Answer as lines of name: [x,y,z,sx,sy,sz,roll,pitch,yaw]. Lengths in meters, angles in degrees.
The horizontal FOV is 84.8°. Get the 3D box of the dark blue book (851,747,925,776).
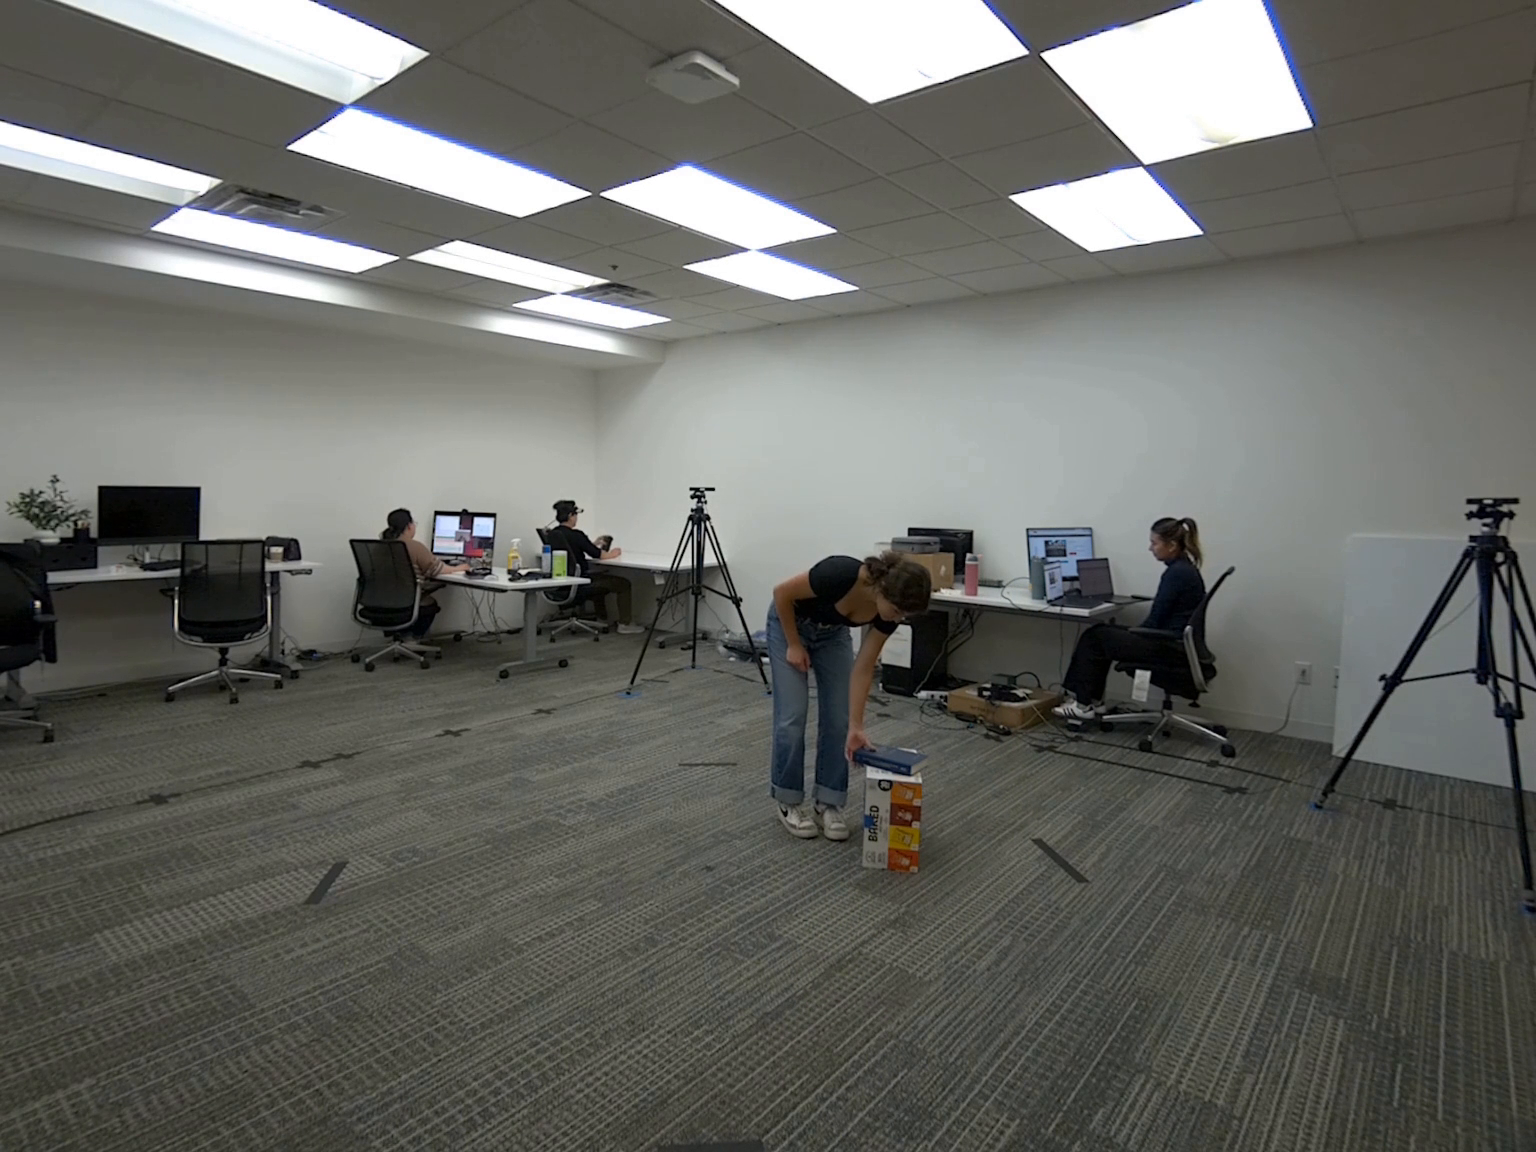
dark blue book: [0.473,0.705,3.291,0.253,0.045,0.159,6,7,36]
